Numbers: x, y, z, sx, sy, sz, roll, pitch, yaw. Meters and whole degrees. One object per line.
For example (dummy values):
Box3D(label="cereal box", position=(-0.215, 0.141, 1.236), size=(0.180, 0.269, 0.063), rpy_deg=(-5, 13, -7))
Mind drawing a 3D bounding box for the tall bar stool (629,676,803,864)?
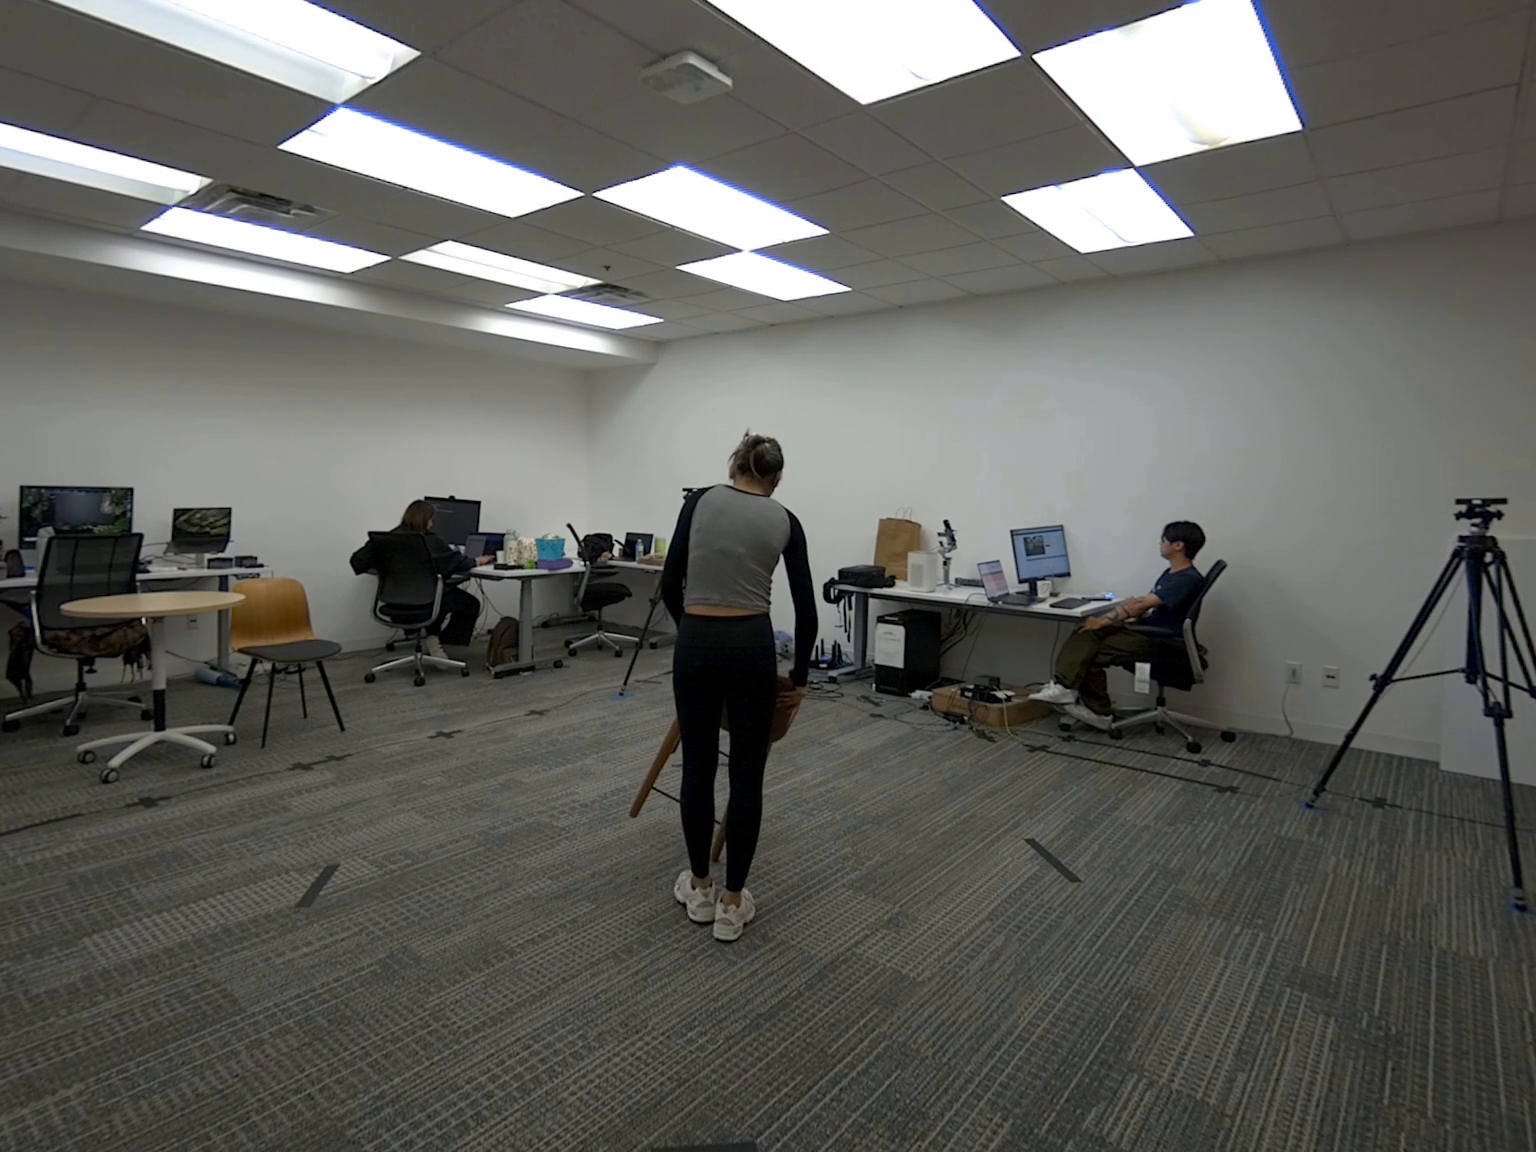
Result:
Box3D(label="tall bar stool", position=(-0.177, 0.553, 3.211), size=(0.463, 0.878, 0.467), rpy_deg=(26, 28, 9))
